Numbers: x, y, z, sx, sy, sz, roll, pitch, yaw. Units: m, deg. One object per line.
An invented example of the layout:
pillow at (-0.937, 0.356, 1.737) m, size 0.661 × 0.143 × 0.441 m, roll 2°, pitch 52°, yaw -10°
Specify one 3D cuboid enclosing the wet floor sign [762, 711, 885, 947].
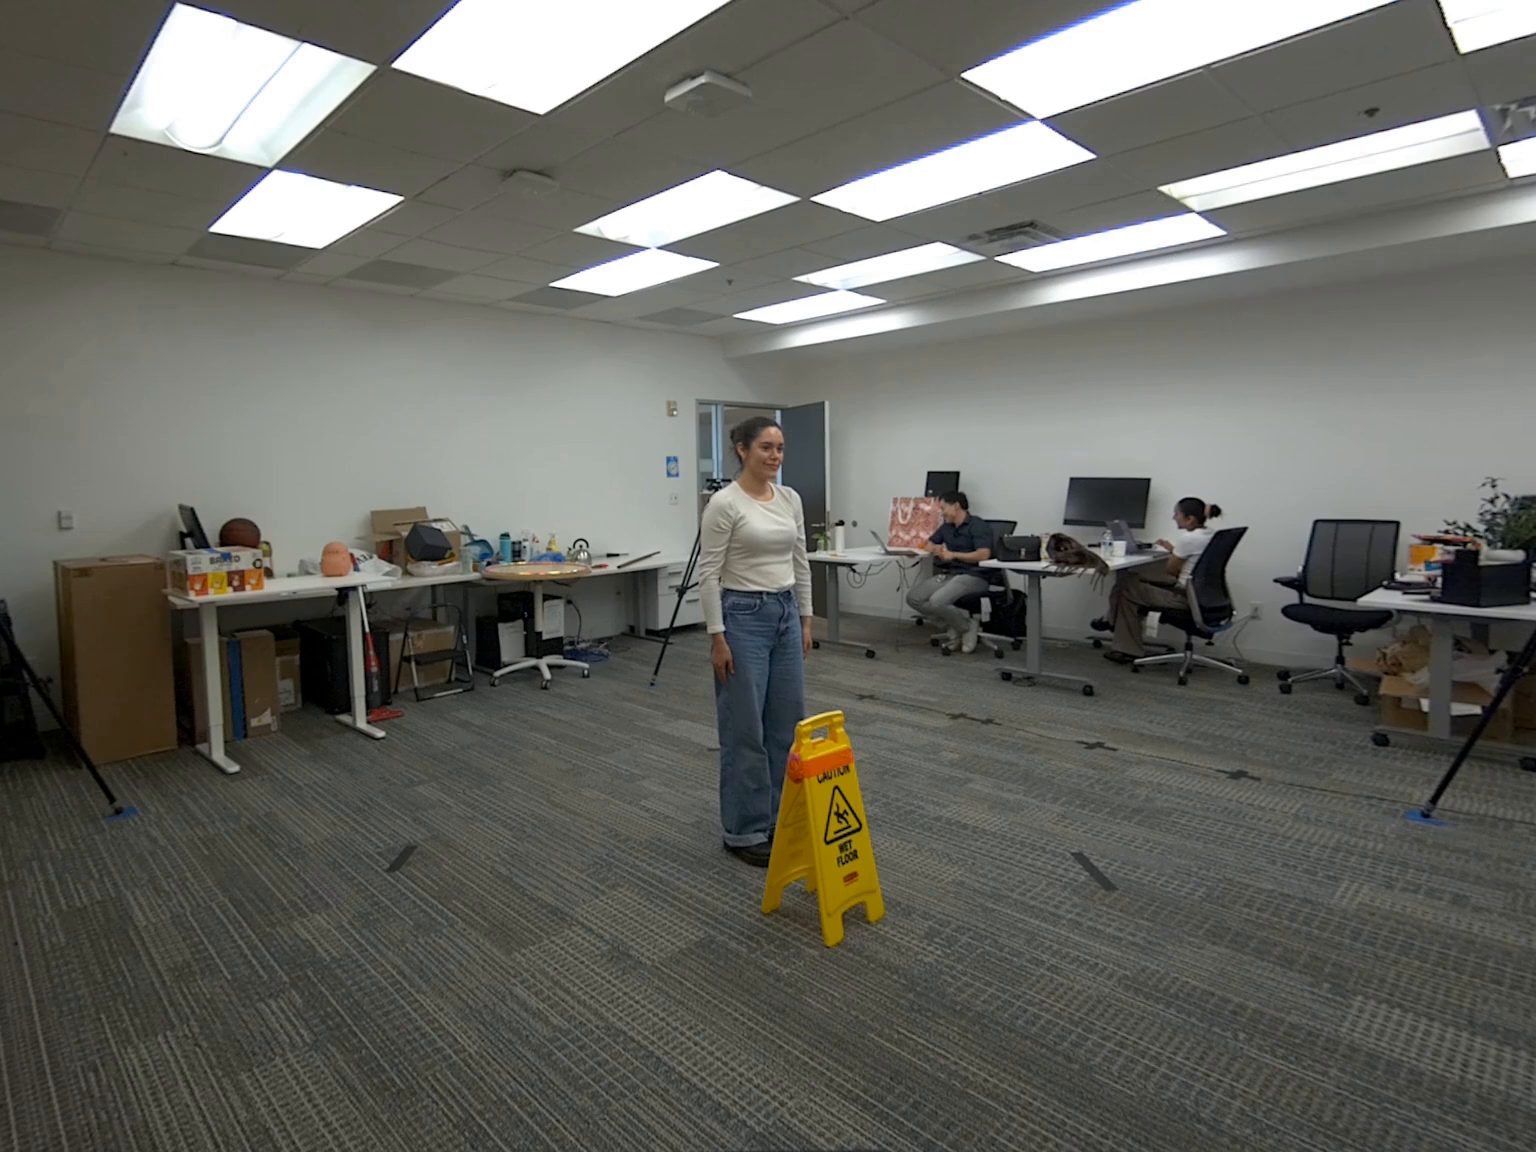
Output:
wet floor sign at (0.167, 0.763, 2.716) m, size 0.275 × 0.644 × 0.298 m, roll -5°, pitch 5°, yaw -43°
